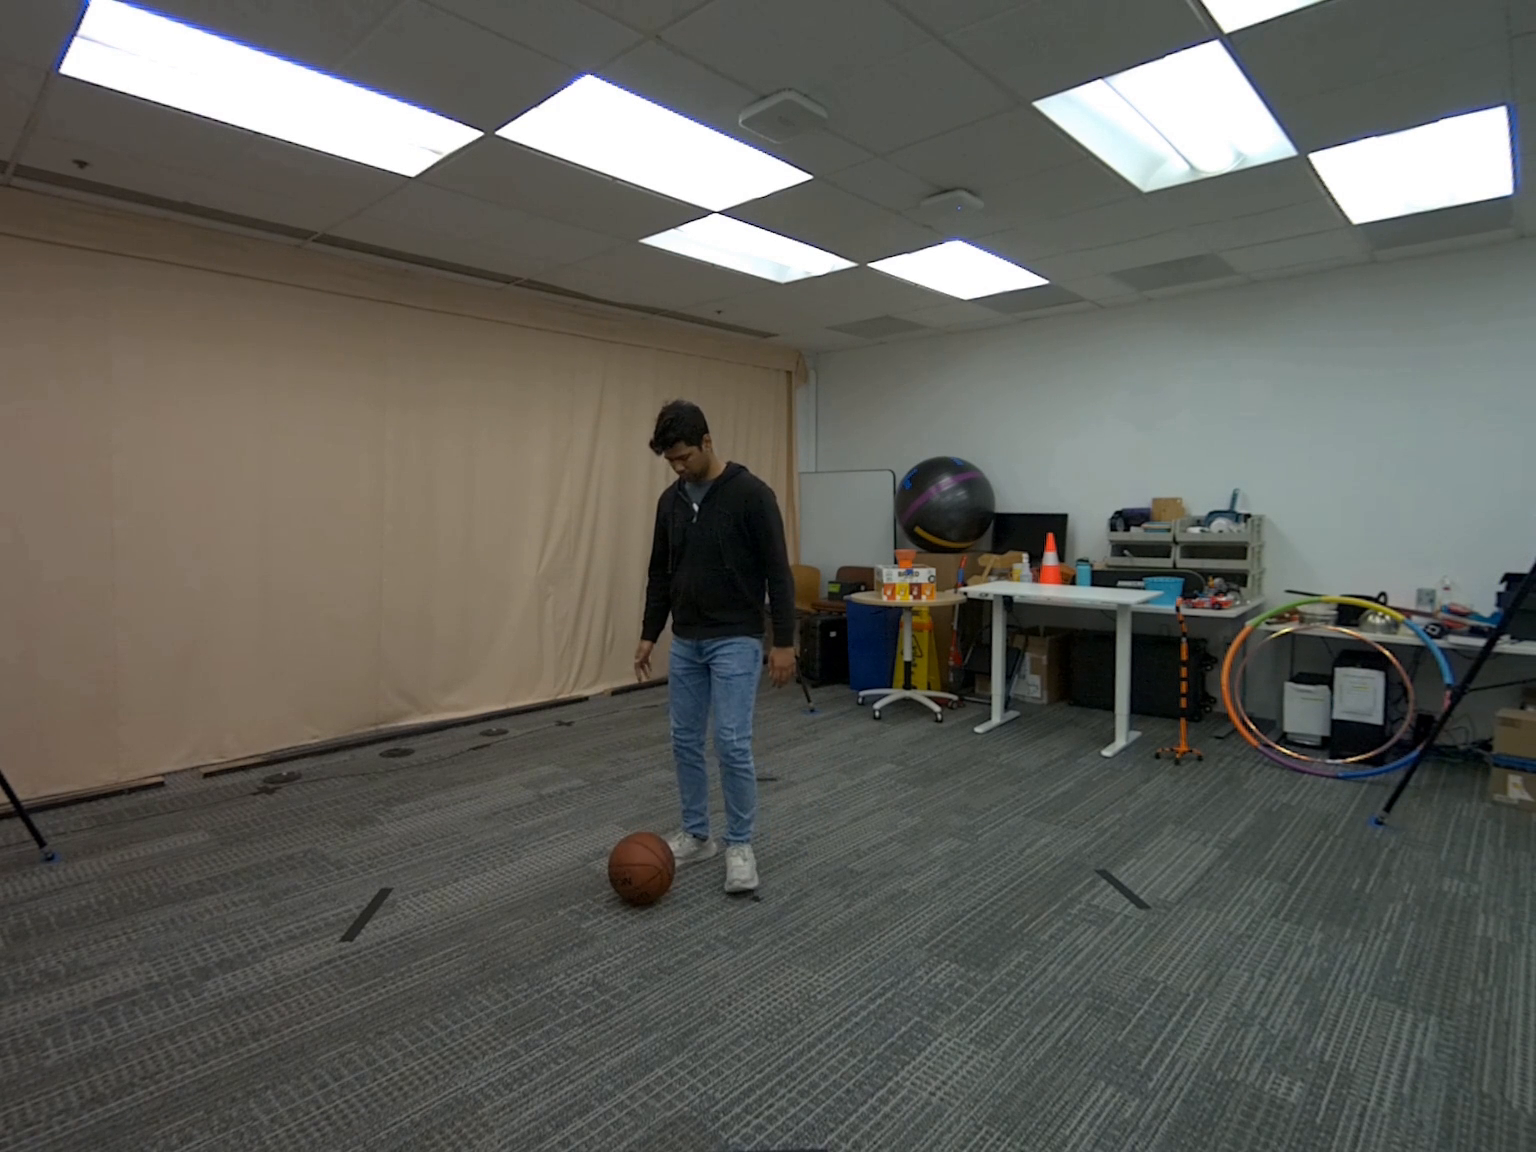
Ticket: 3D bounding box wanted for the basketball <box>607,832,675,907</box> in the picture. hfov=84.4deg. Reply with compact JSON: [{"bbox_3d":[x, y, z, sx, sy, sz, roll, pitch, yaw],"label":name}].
[{"bbox_3d":[-0.445,1.025,2.970,0.236,0.235,0.237,0,4,-2],"label":"basketball"}]
